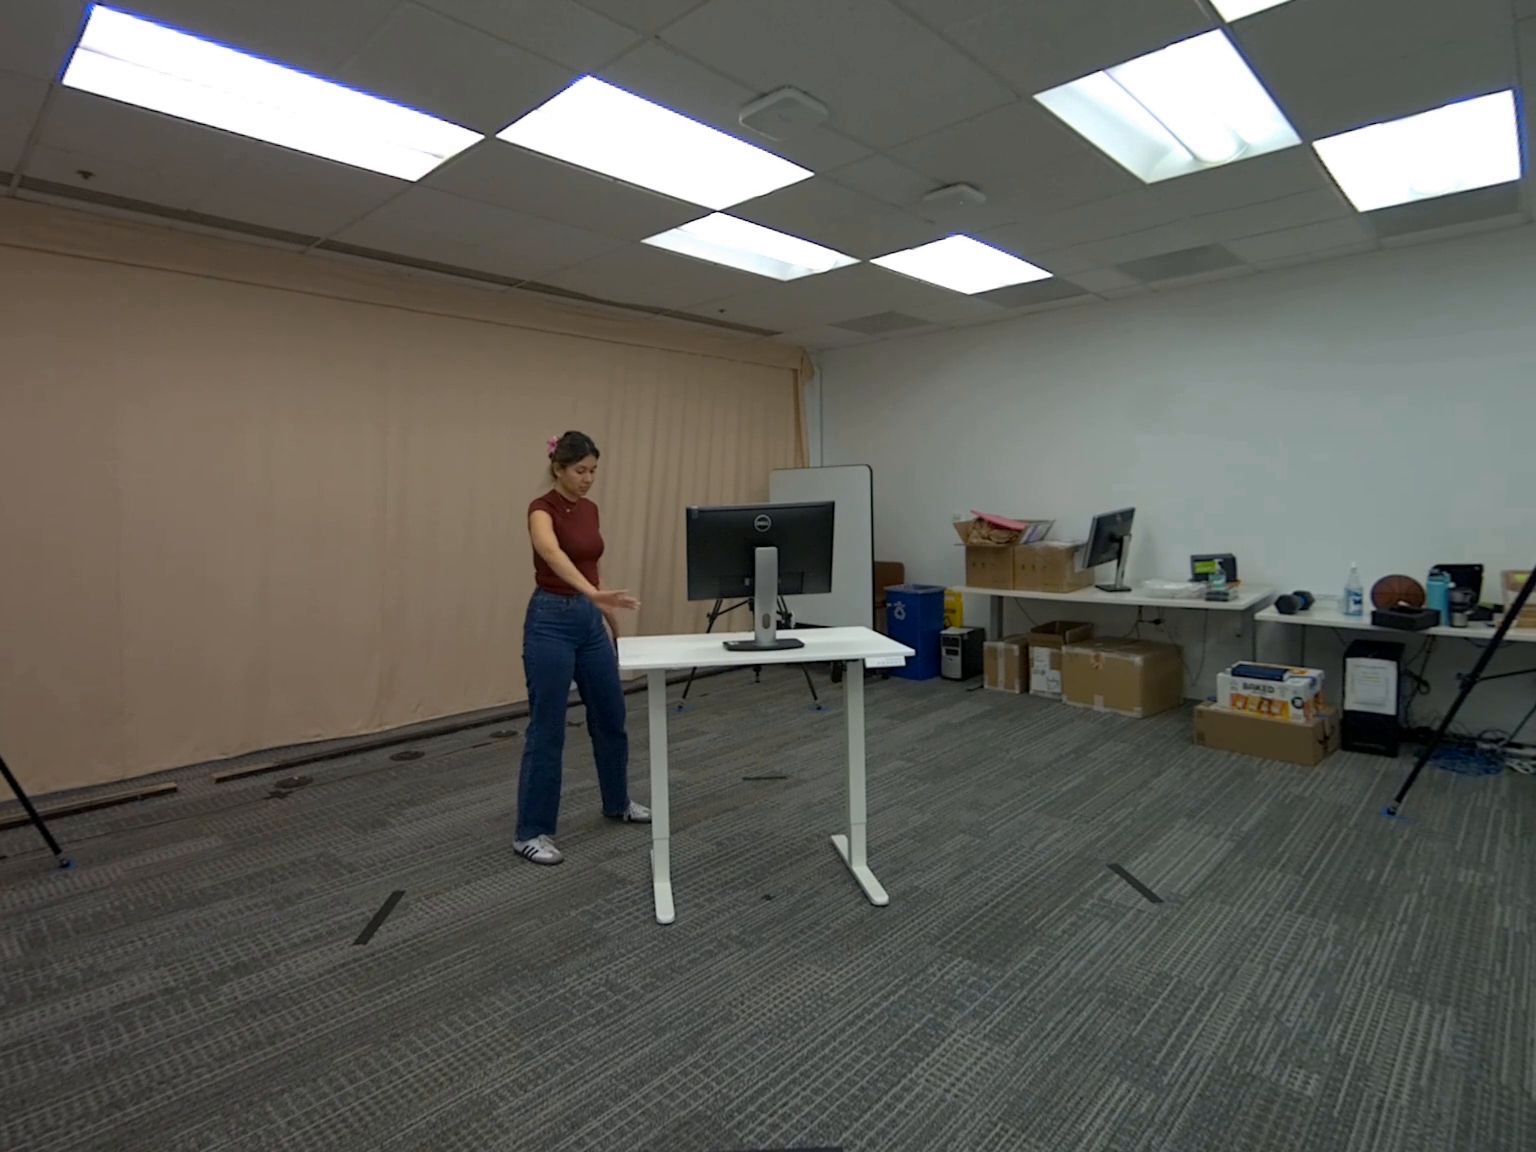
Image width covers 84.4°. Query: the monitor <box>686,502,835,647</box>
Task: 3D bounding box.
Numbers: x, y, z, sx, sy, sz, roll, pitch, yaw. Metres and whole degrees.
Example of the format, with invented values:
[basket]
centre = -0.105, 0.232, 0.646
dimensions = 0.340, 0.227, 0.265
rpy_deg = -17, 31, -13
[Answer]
[monitor]
centre = -0.013, 0.003, 2.996
dimensions = 0.534, 0.521, 0.189
rpy_deg = -2, 5, -10
